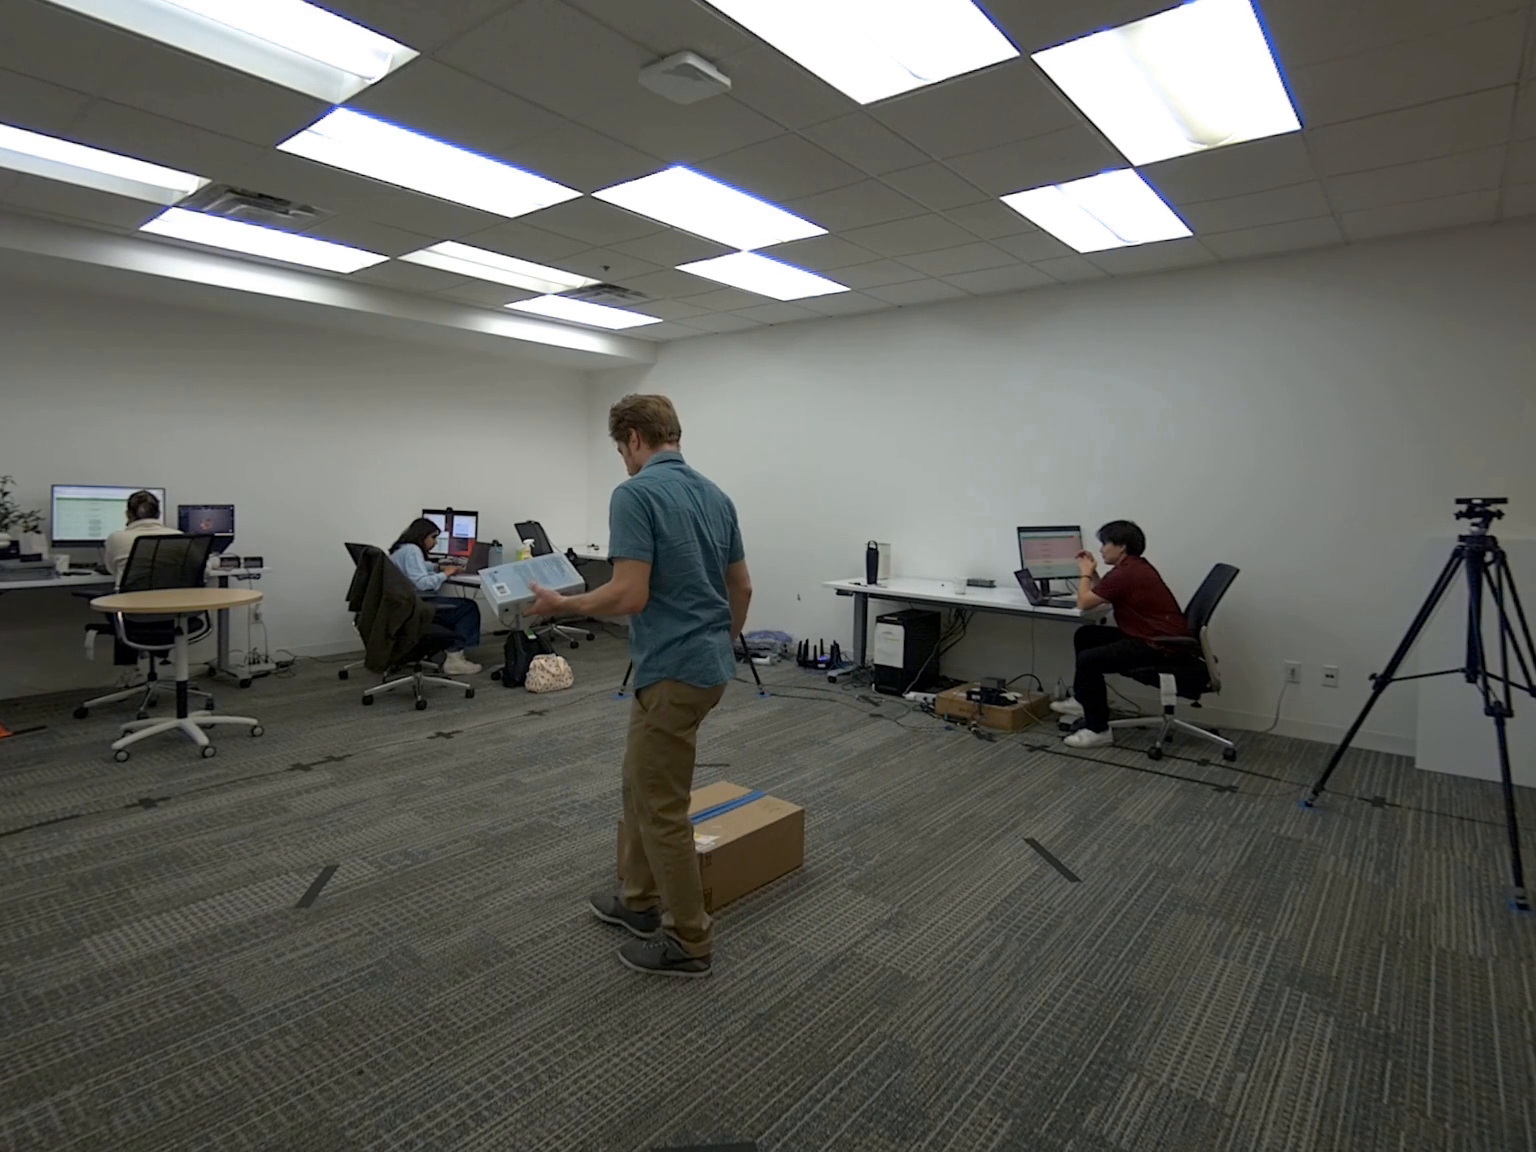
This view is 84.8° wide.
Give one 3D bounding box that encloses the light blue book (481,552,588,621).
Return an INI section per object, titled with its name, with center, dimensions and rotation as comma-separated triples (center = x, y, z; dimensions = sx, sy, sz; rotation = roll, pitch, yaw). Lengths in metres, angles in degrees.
[light blue book]
center = -0.703, 0.025, 2.526
dimensions = 0.256, 0.057, 0.200
rotation = -15, 36, -26
